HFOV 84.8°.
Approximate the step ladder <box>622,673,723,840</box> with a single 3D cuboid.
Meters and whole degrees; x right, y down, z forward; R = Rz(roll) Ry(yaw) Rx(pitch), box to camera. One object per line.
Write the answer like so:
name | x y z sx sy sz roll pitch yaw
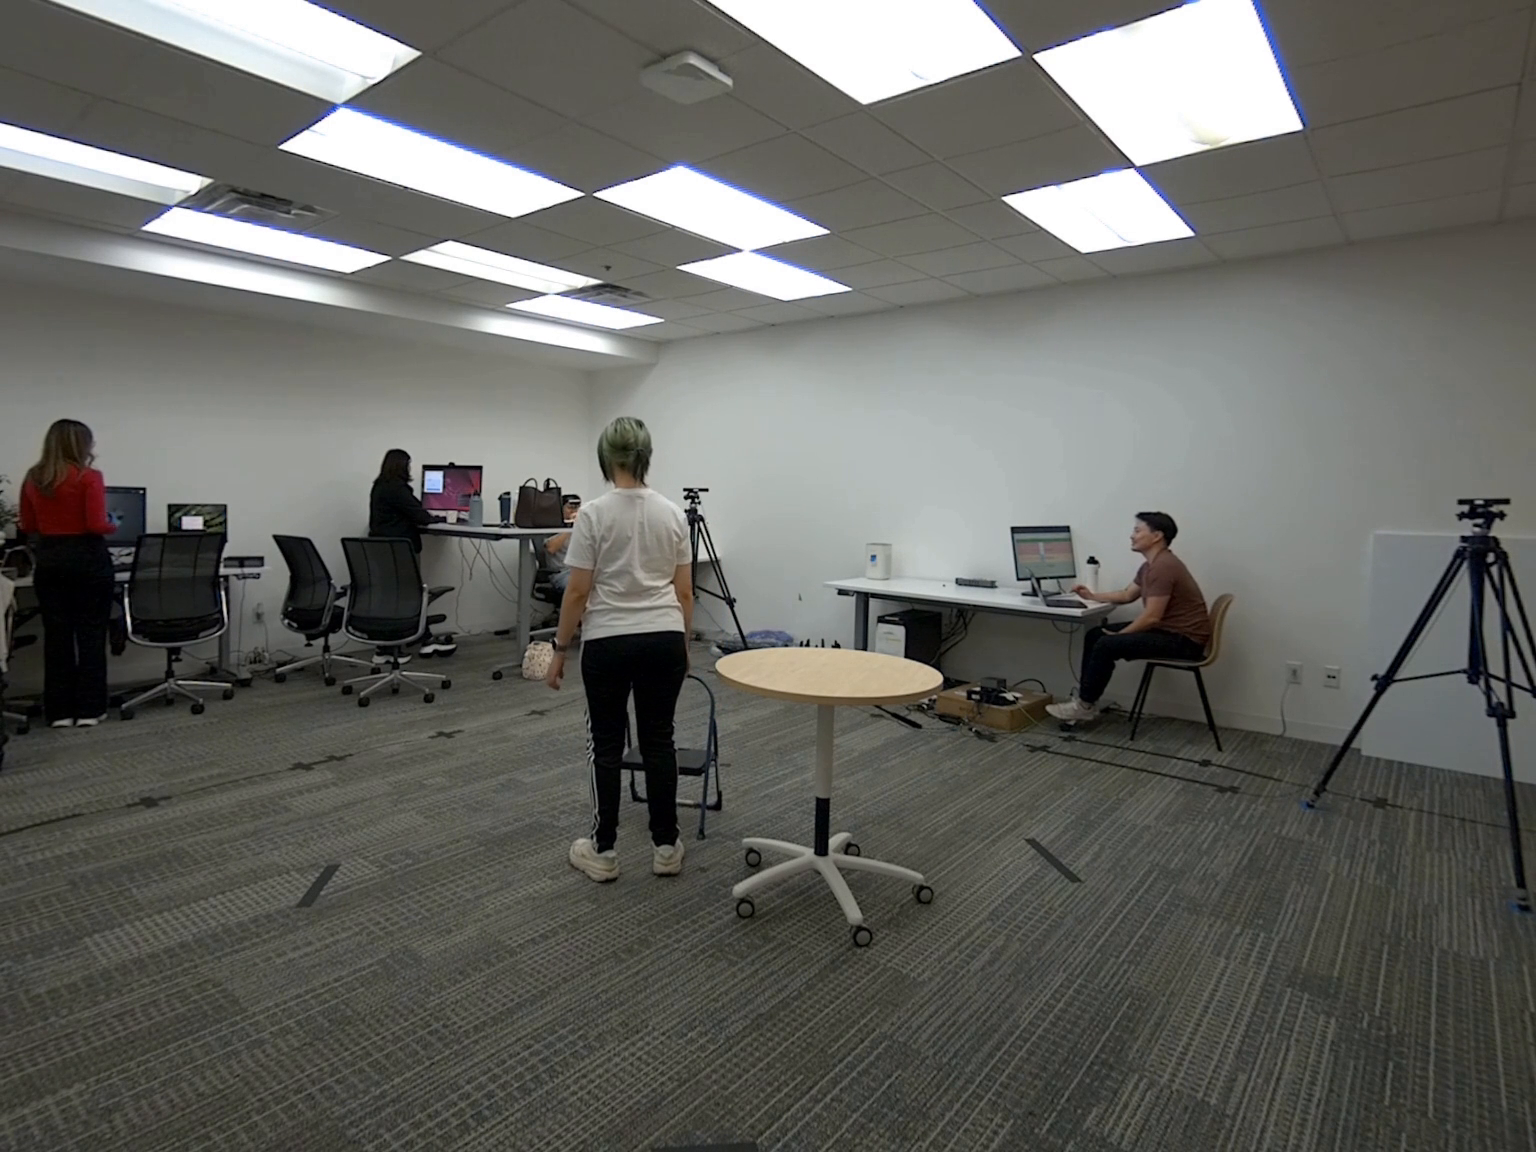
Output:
step ladder | -0.431 0.718 3.578 0.437 0.604 0.345 2 4 13
